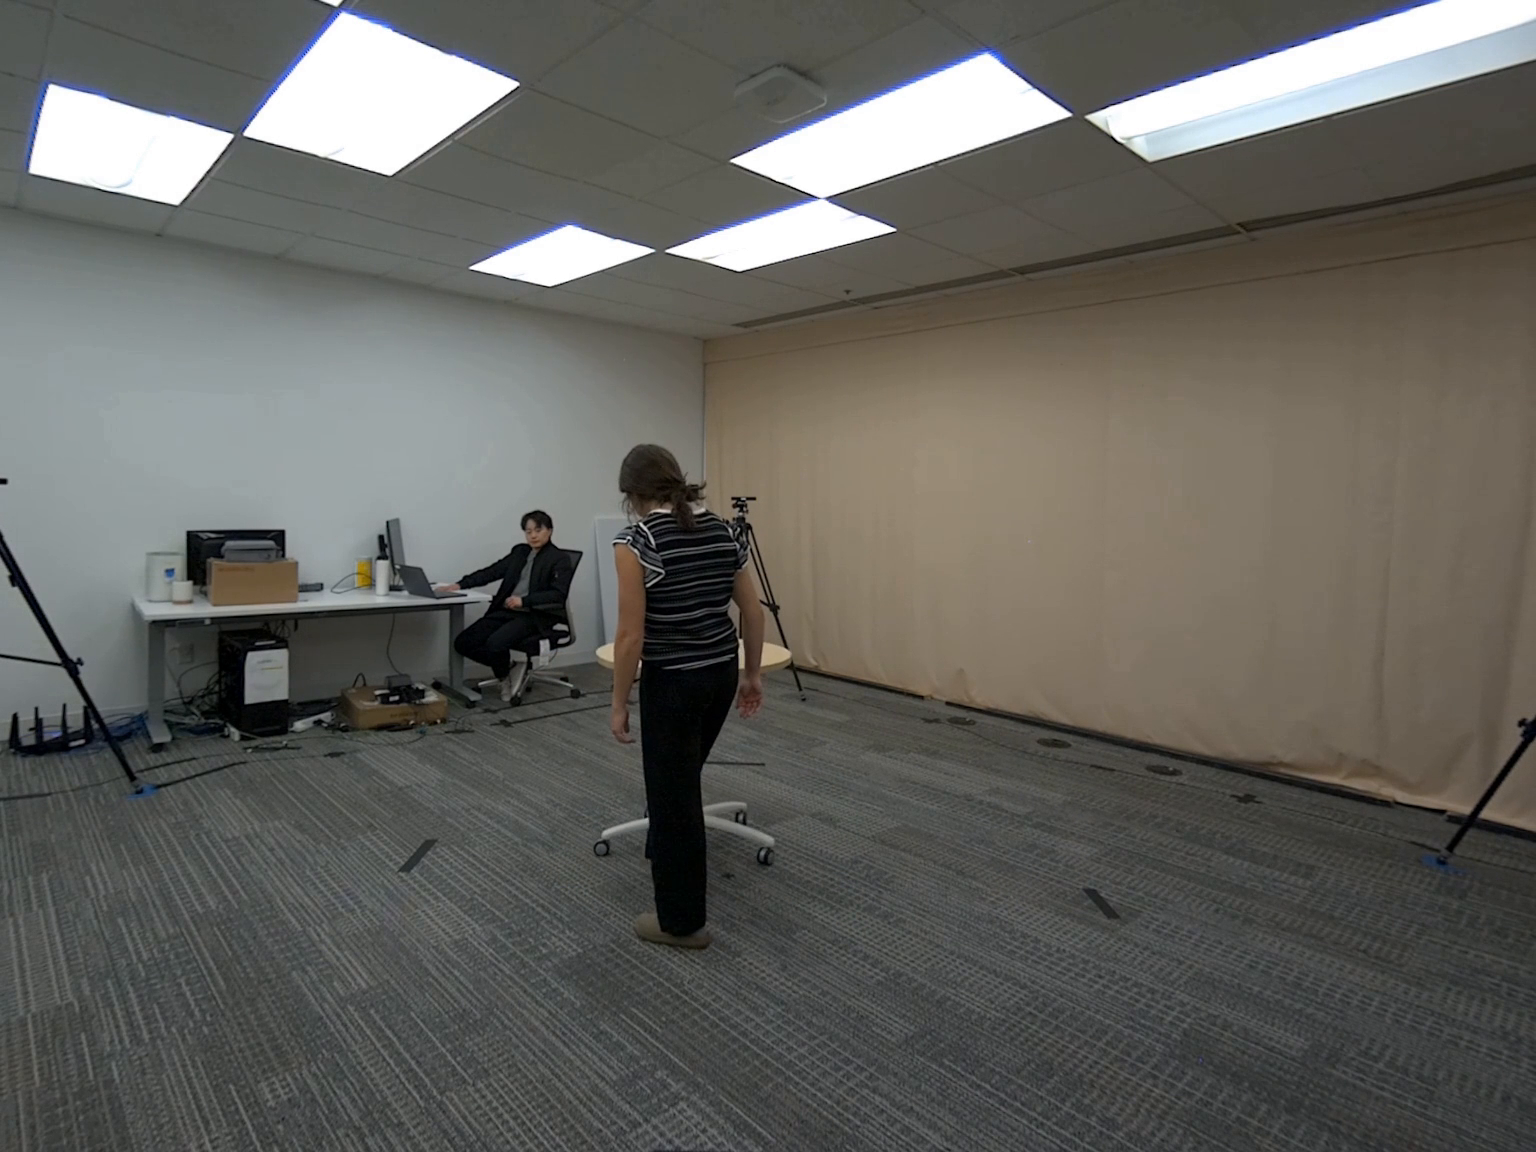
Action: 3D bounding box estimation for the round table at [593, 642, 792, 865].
[{"bbox_3d":[-0.295,0.693,3.322,0.784,0.784,0.788,1,4,-1],"label":"round table"}]
